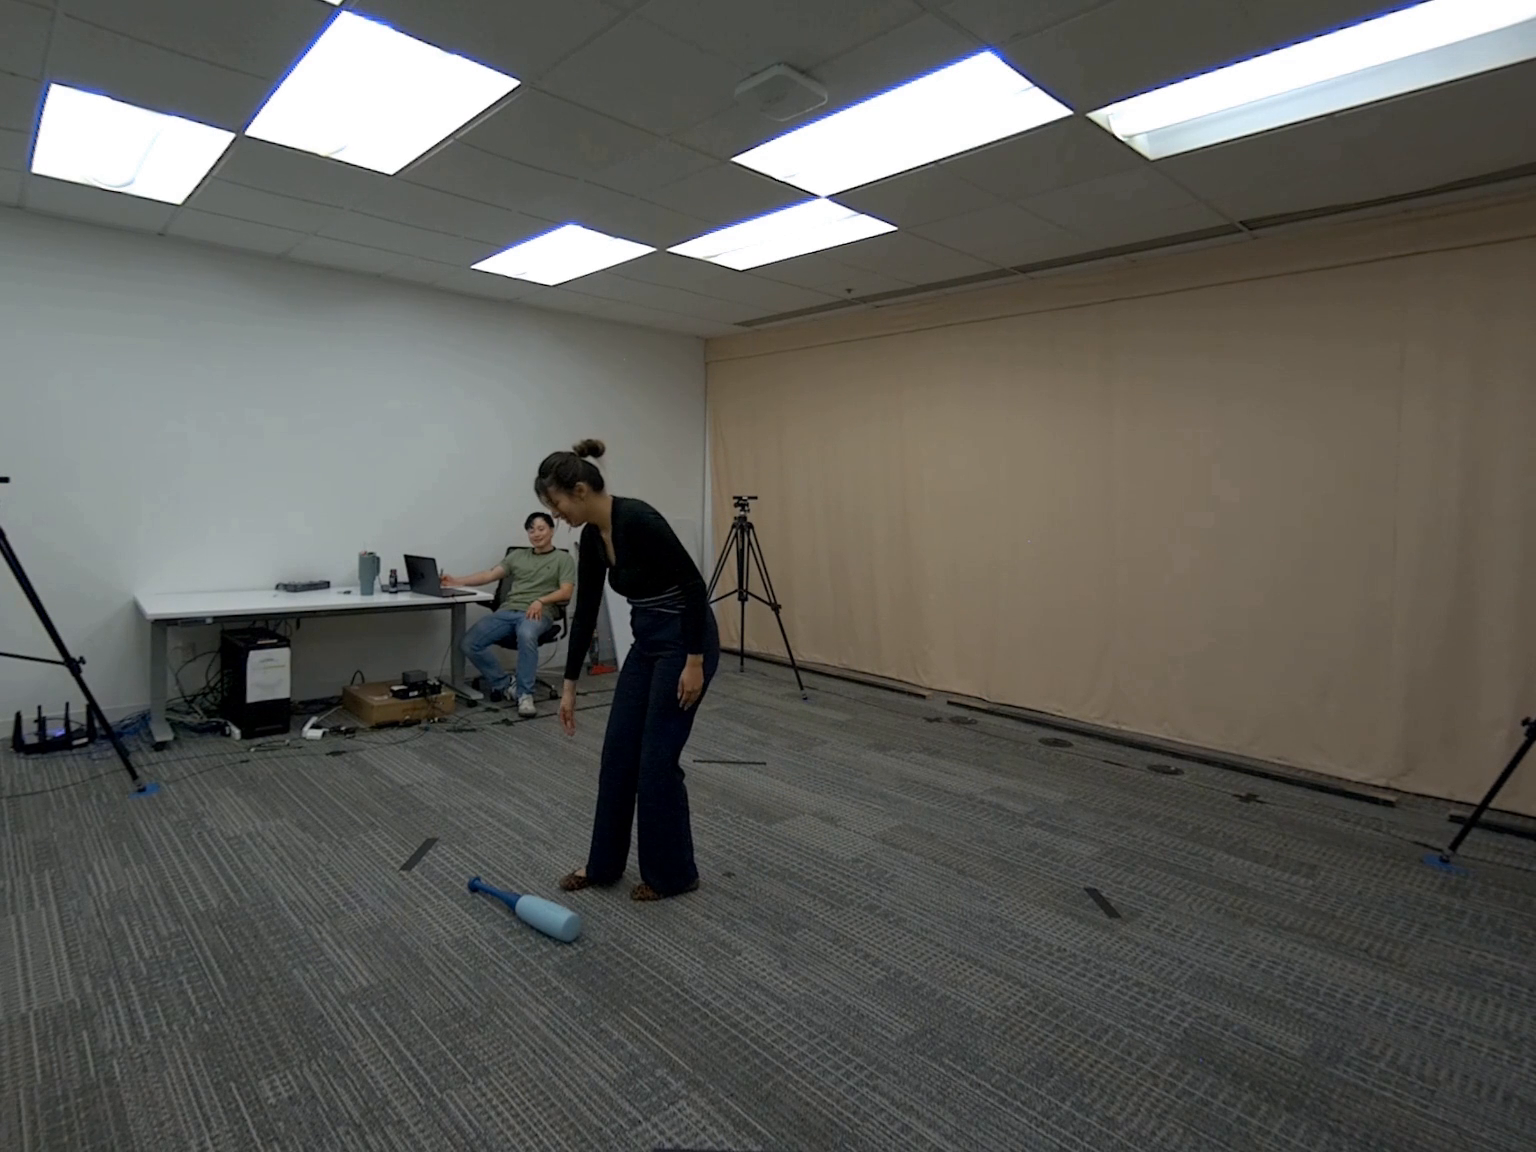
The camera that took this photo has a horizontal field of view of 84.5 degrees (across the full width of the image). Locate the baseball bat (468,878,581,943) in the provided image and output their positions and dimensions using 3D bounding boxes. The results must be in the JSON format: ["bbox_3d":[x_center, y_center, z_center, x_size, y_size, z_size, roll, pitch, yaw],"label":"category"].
[{"bbox_3d":[-0.826,1.084,2.763,0.556,0.089,0.087,2,4,39],"label":"baseball bat"}]
